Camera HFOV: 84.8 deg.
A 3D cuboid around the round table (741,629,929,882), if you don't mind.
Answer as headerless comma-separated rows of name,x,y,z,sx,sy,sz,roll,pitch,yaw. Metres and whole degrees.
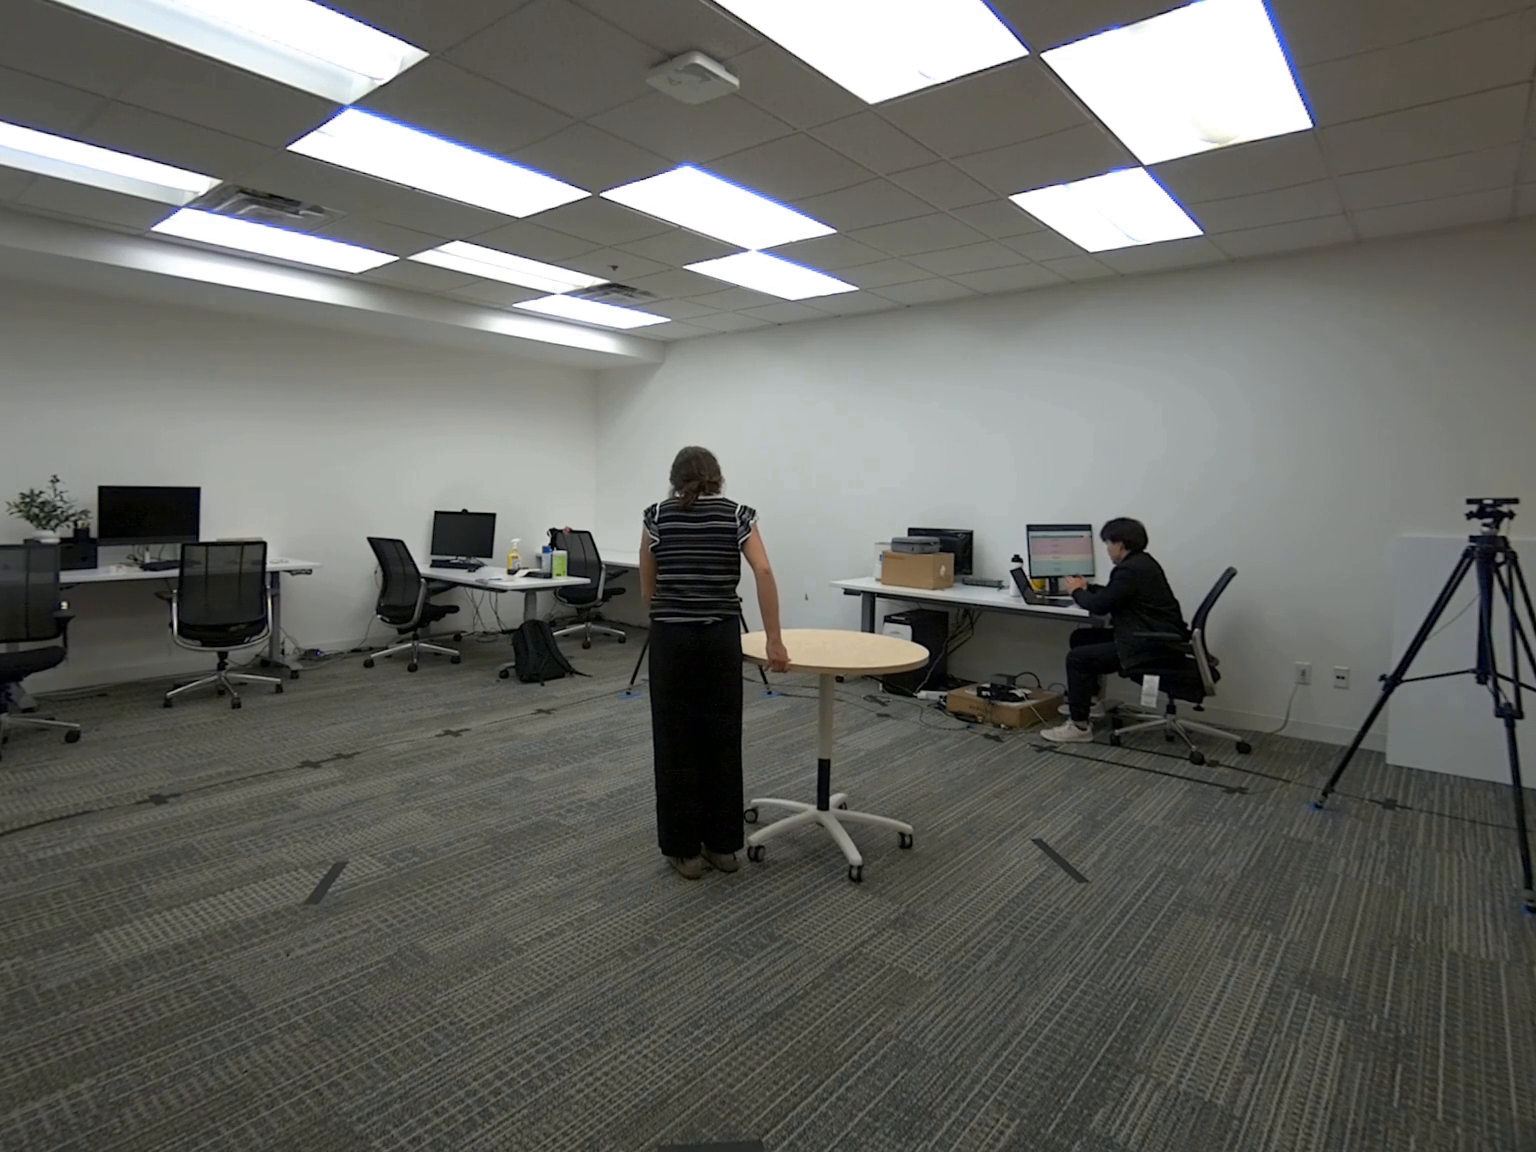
round table,0.198,0.658,3.327,0.784,0.784,0.789,2,4,-2
